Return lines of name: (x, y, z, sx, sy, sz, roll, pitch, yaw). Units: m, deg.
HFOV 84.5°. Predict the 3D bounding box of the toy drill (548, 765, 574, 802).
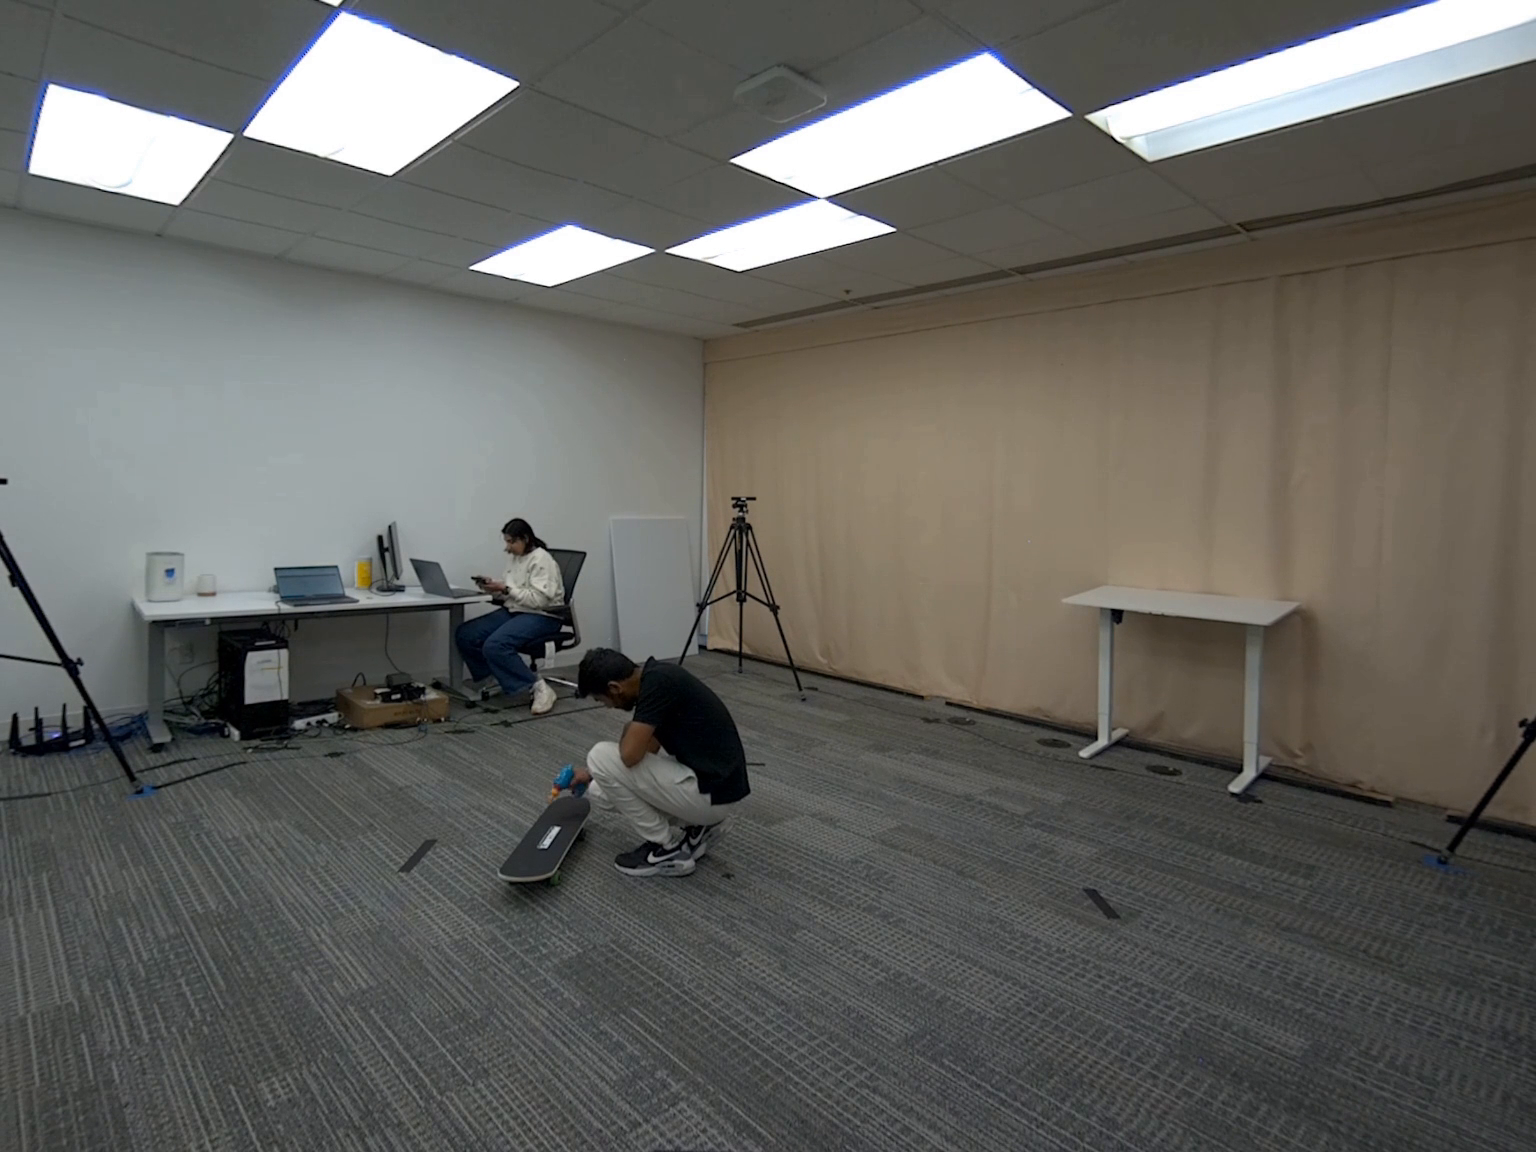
toy drill: (-0.818, 0.858, 3.422, 0.062, 0.171, 0.142, -7, -45, 49)
